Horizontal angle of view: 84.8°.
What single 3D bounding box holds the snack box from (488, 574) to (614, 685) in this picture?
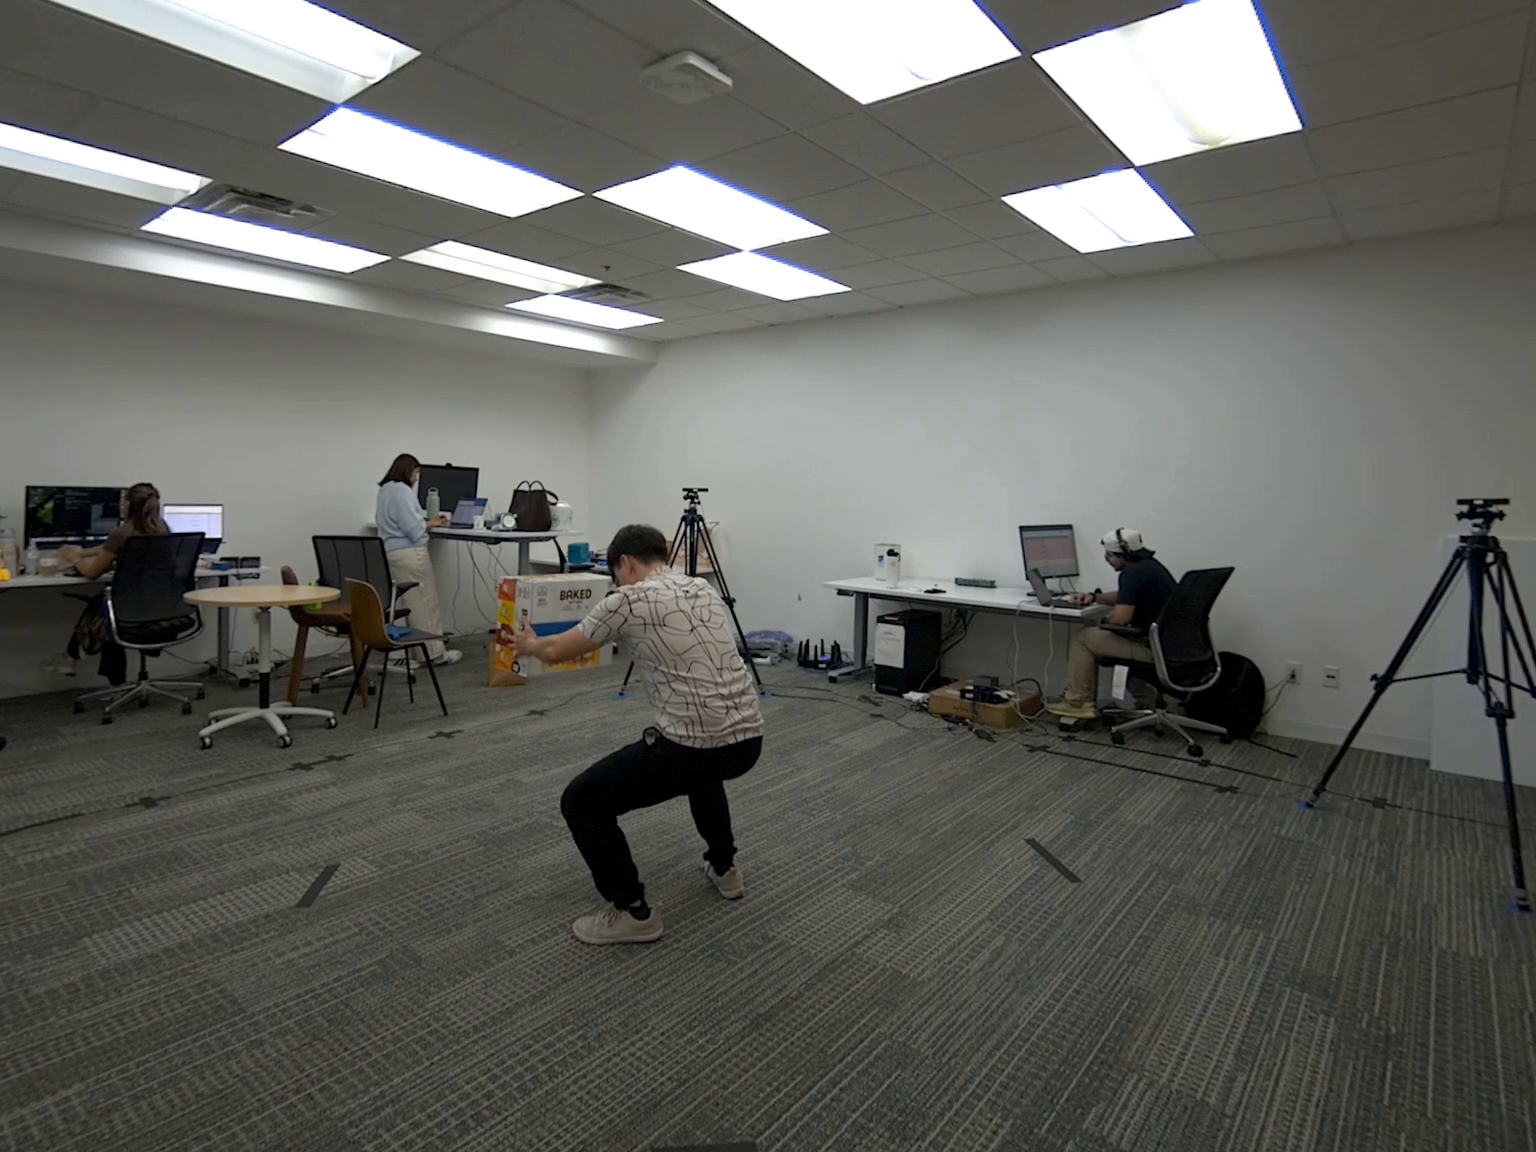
[{"bbox_3d":[-0.812,0.171,3.225,0.213,0.339,0.392,7,5,39],"label":"snack box"}]
